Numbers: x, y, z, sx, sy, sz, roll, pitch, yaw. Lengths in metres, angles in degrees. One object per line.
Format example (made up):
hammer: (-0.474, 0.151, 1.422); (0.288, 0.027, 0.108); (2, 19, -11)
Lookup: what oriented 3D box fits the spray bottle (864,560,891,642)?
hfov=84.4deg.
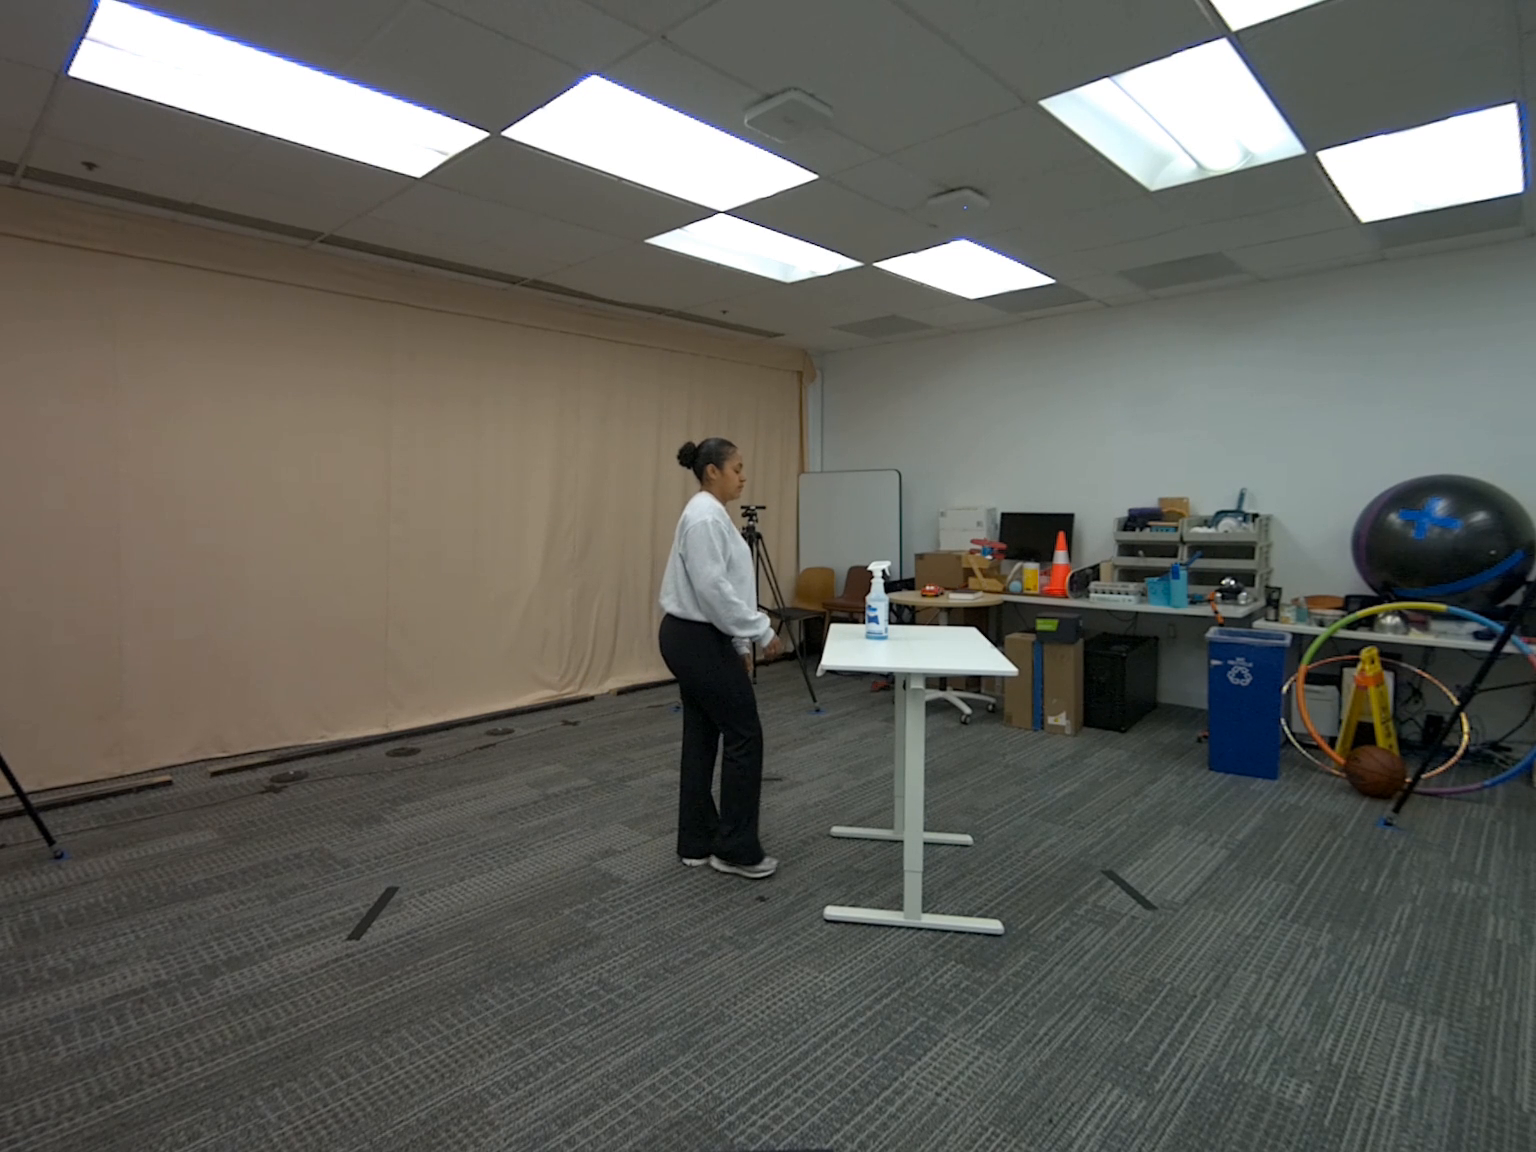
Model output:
spray bottle: (0.426, 0.096, 3.221); (0.091, 0.297, 0.086); (2, 2, 11)
